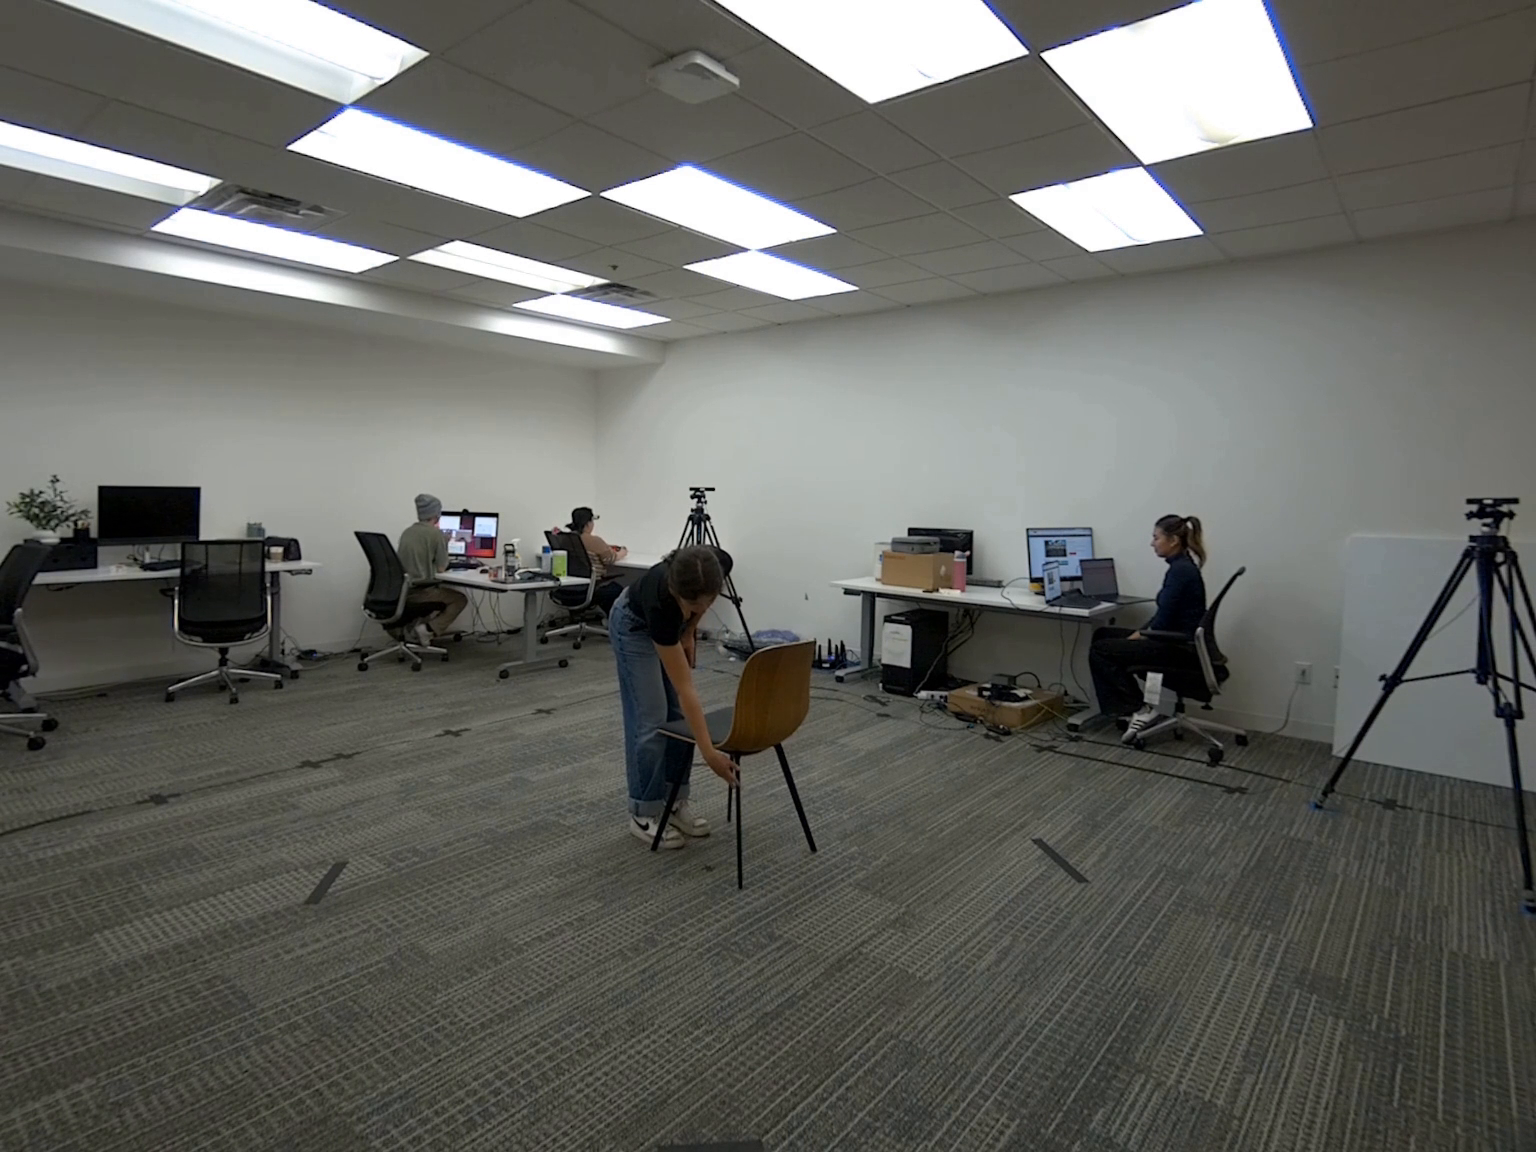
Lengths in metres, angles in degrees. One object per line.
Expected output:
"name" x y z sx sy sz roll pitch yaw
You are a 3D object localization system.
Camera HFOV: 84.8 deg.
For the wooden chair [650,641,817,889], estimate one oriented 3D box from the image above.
"wooden chair" -0.130 0.628 3.240 0.542 0.873 0.464 9 8 40
